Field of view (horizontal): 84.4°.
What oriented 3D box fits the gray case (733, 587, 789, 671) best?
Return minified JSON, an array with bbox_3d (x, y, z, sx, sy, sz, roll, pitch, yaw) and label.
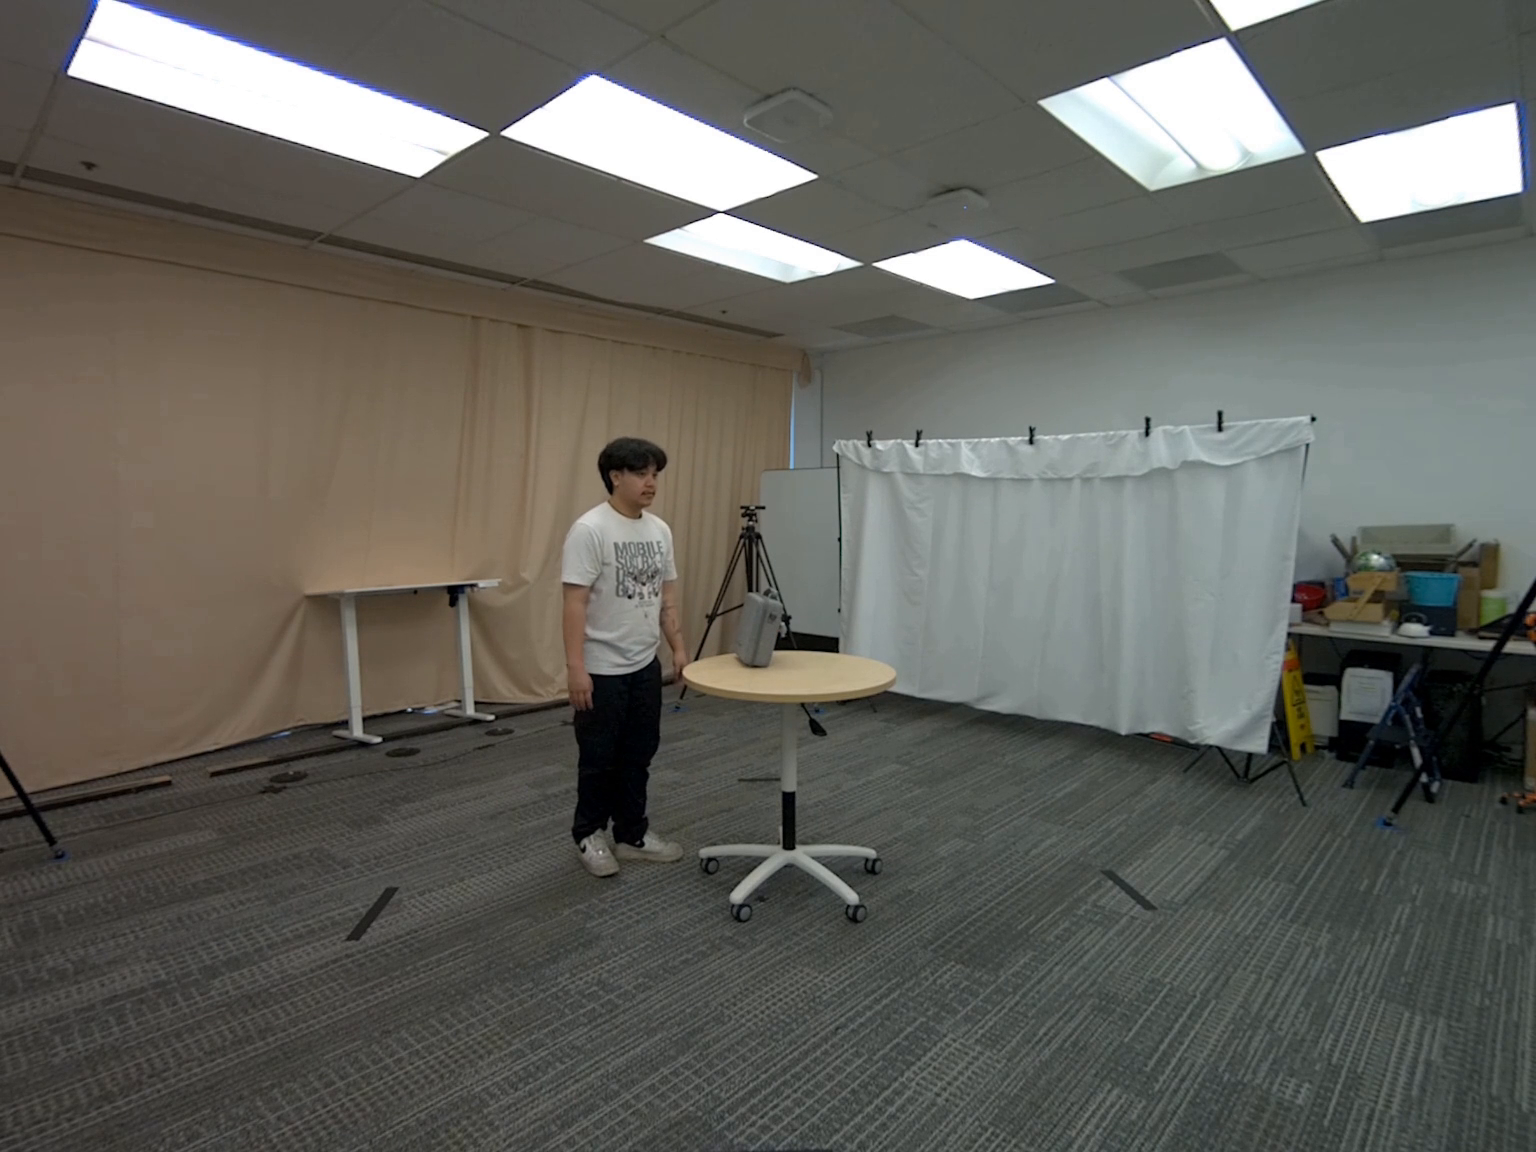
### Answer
[{"bbox_3d":[-0.033,0.191,3.192,0.103,0.260,0.260,12,2,-12],"label":"gray case"}]
